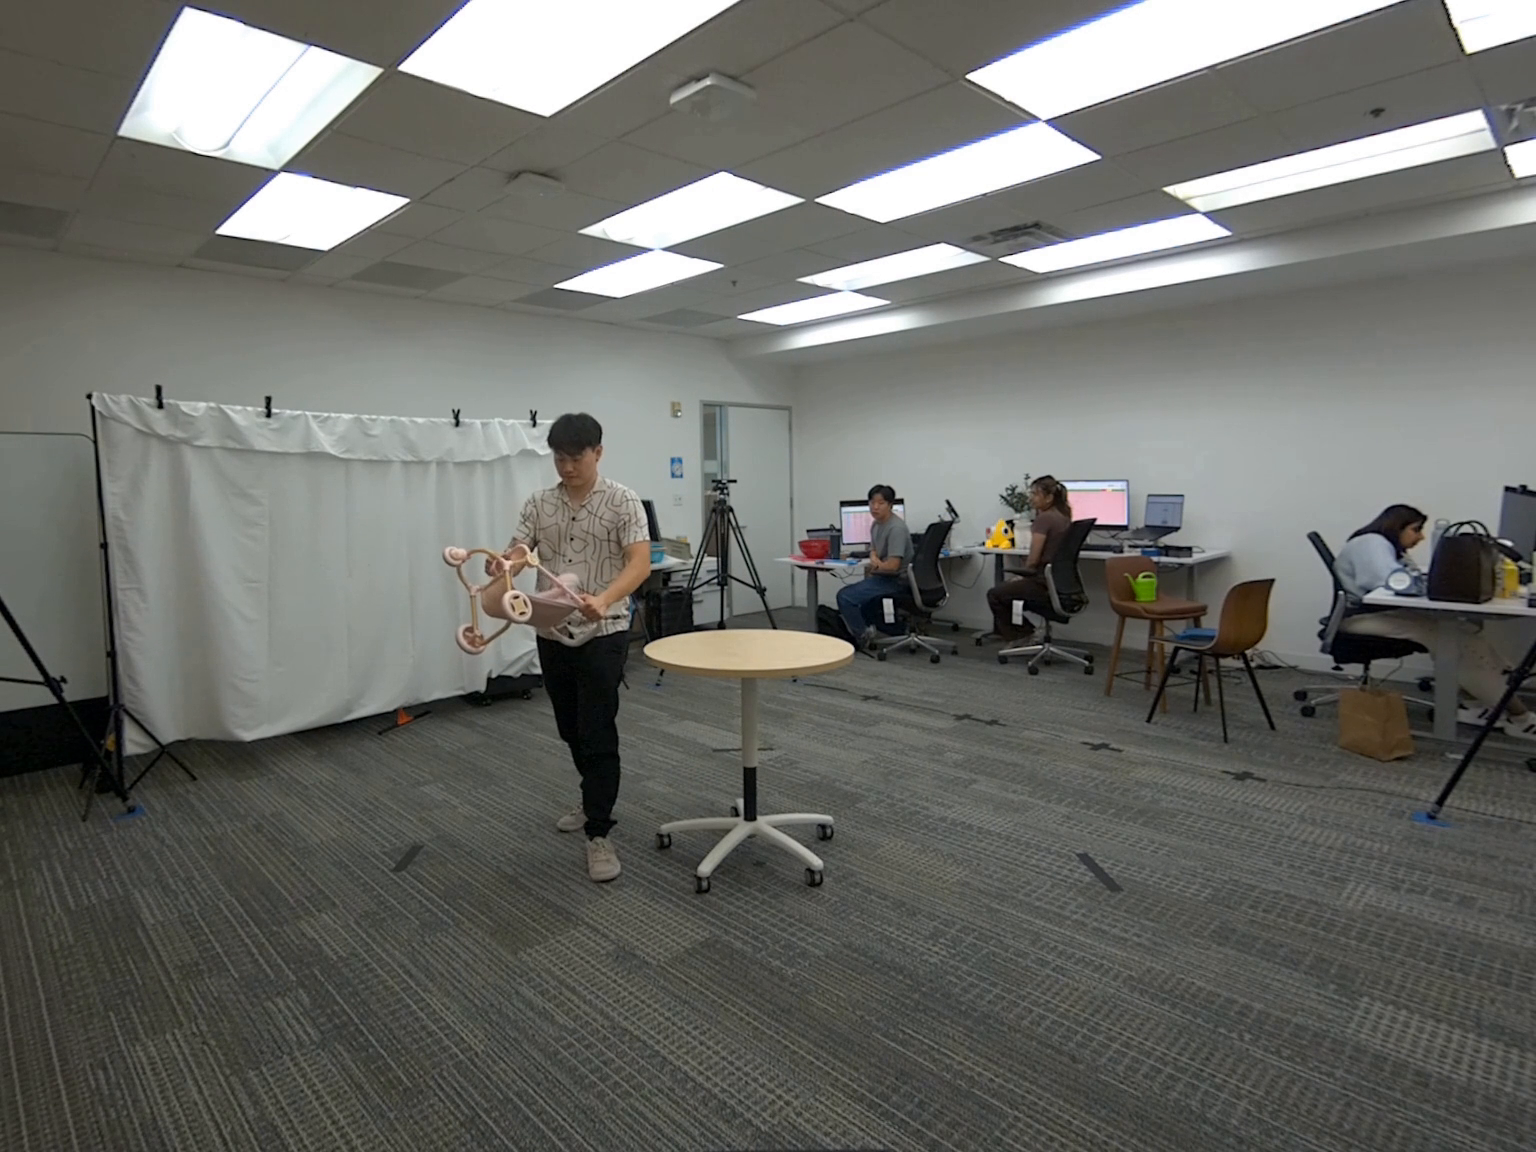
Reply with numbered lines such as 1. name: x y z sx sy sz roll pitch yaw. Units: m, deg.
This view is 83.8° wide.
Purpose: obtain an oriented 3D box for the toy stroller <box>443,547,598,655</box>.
1. toy stroller: -0.832 0.064 2.879 0.283 0.350 0.519 -38 -23 29
